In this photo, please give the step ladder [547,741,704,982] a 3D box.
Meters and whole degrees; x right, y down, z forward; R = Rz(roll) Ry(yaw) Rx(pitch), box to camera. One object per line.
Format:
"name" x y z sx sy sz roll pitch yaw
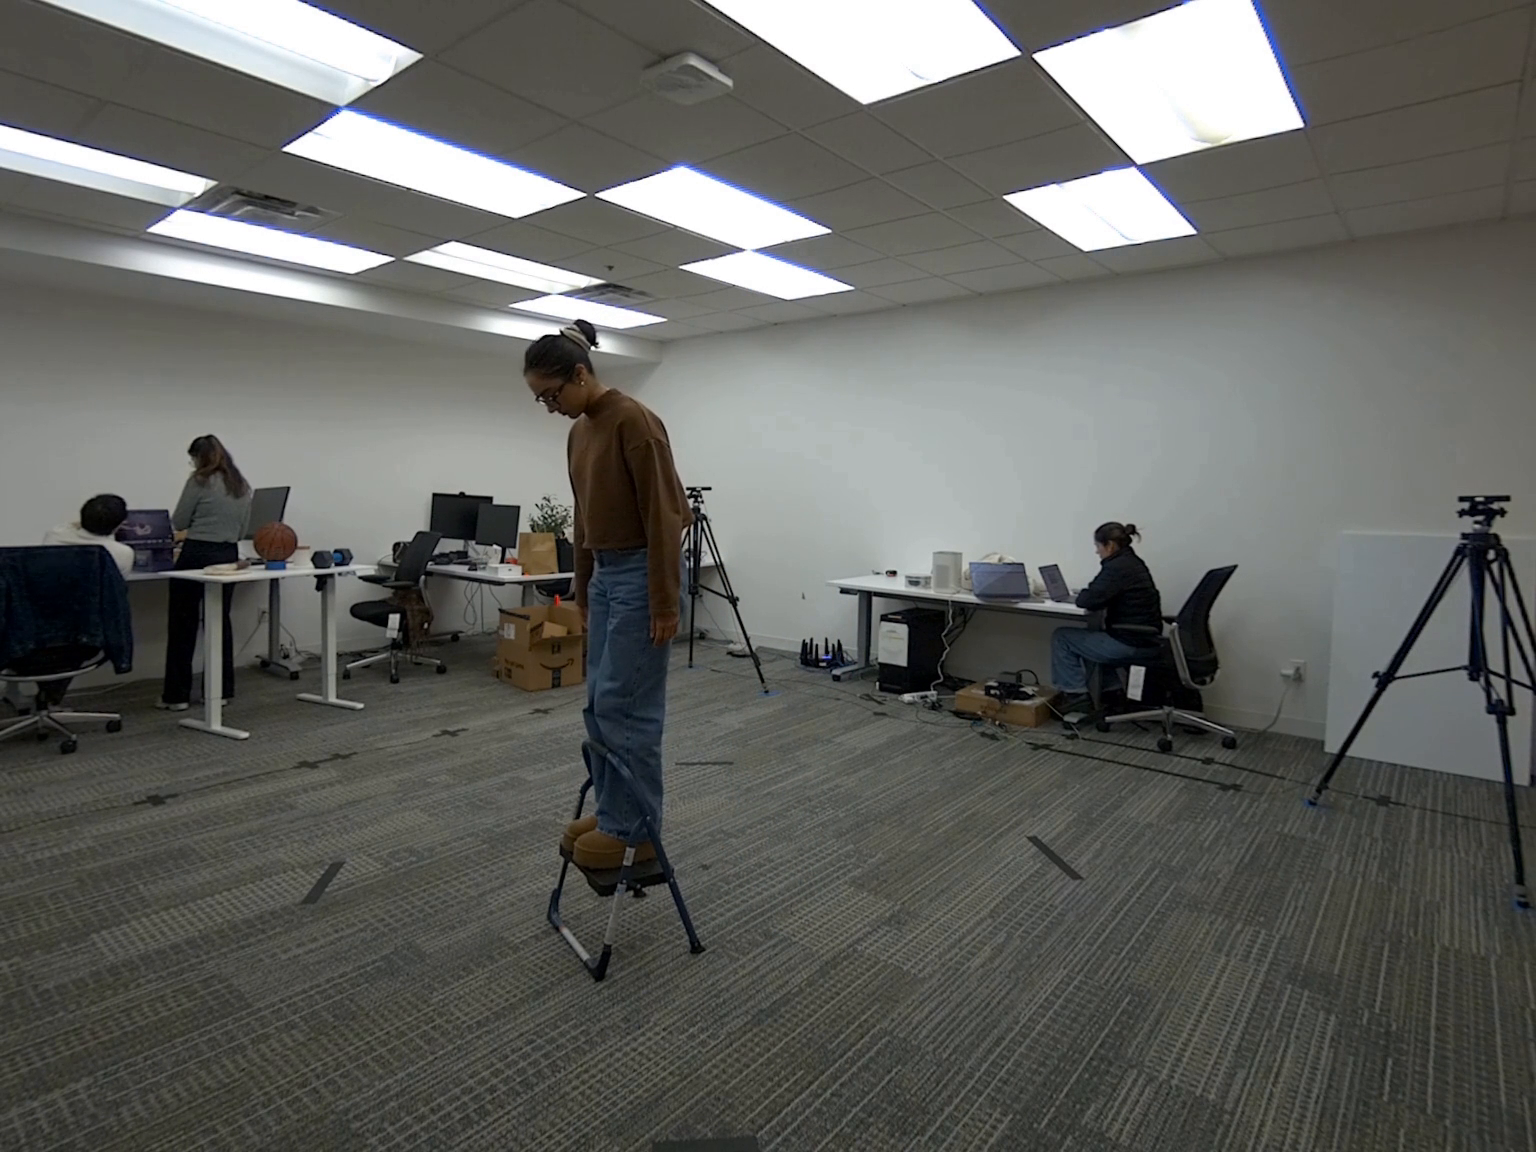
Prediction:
"step ladder" -0.461 0.809 2.622 0.339 0.604 0.444 -2 5 -34
